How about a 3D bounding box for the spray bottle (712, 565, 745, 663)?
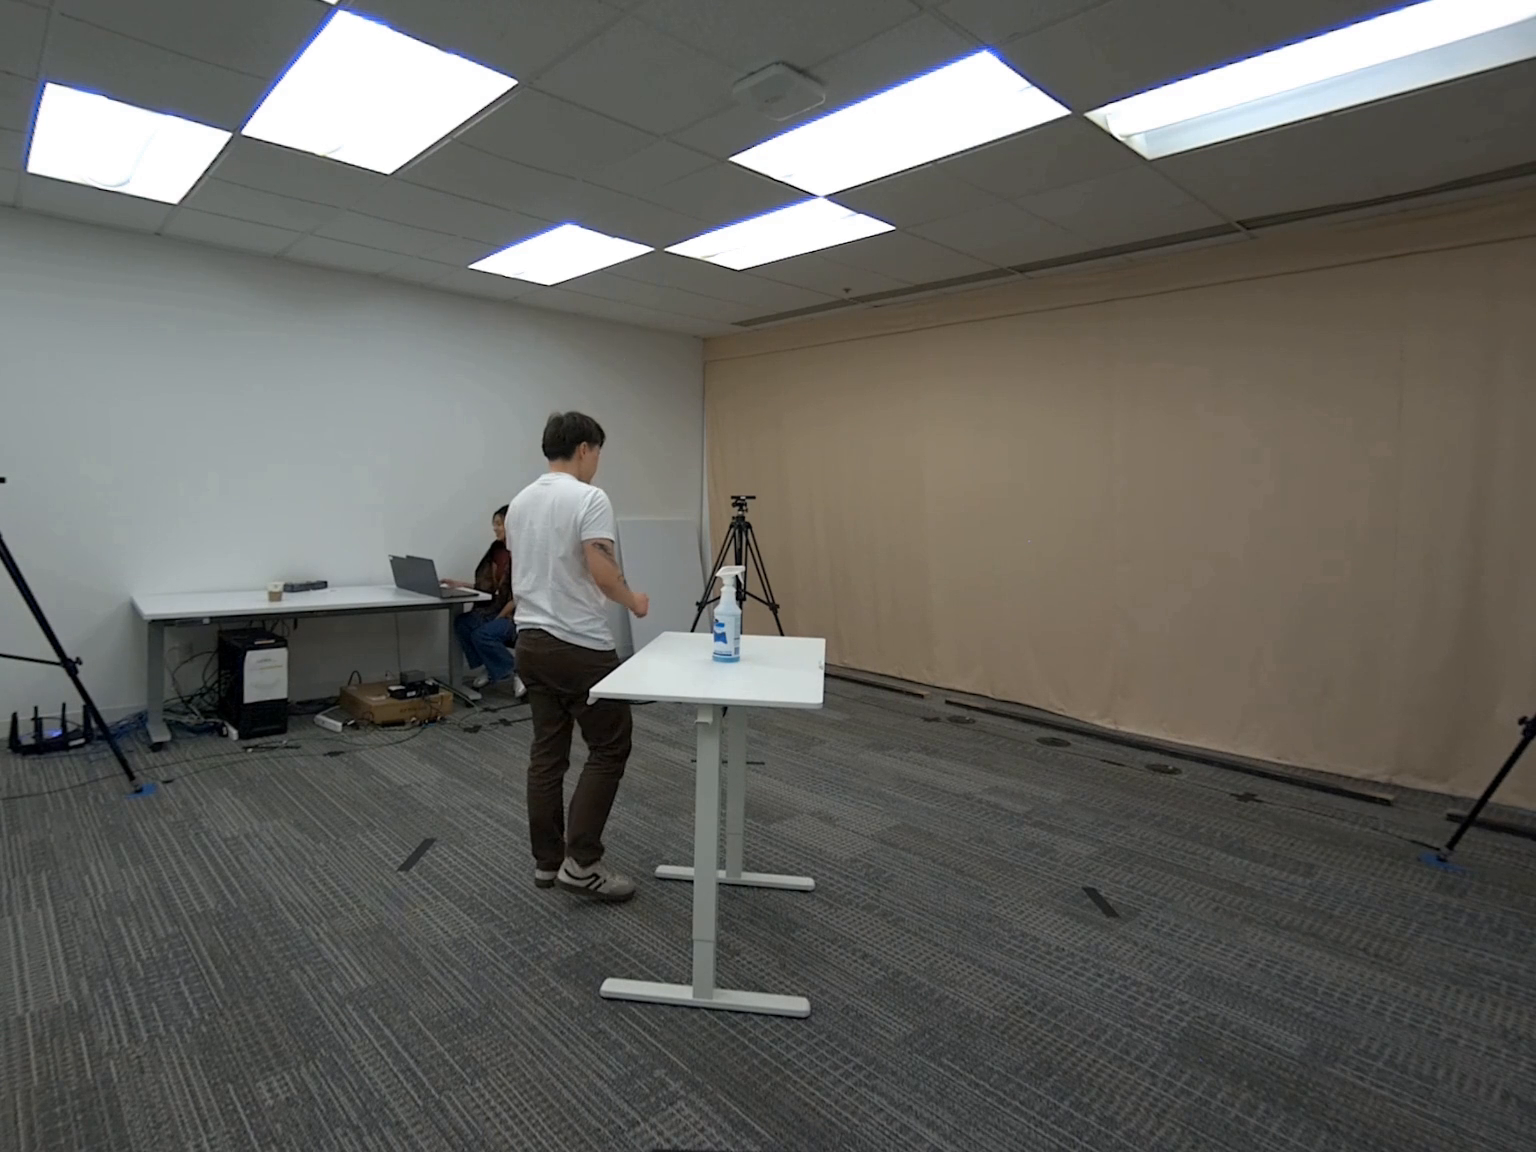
[{"bbox_3d":[-0.129,0.117,2.624,0.091,0.296,0.086,3,4,8],"label":"spray bottle"}]
